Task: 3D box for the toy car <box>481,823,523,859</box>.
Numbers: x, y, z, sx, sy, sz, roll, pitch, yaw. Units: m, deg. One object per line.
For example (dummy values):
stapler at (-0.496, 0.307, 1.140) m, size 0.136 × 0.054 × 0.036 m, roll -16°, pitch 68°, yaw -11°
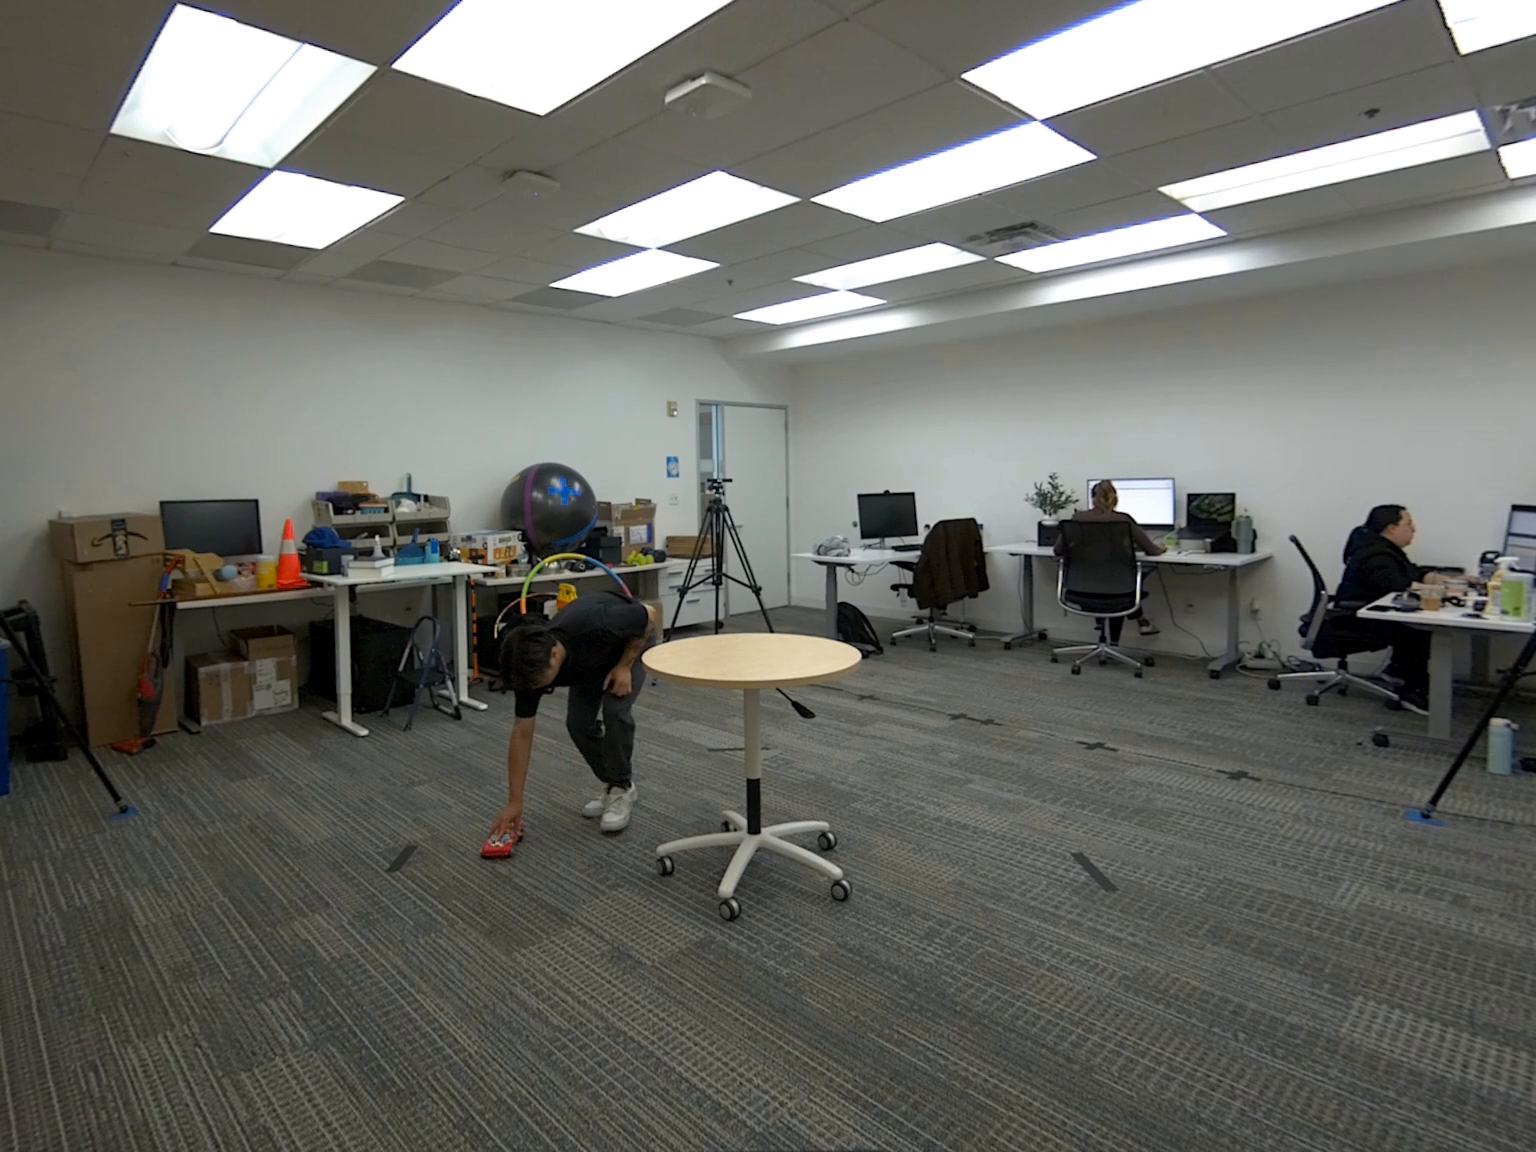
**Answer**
toy car at (-1.017, 1.016, 3.296) m, size 0.130 × 0.082 × 0.258 m, roll -1°, pitch 18°, yaw -1°
